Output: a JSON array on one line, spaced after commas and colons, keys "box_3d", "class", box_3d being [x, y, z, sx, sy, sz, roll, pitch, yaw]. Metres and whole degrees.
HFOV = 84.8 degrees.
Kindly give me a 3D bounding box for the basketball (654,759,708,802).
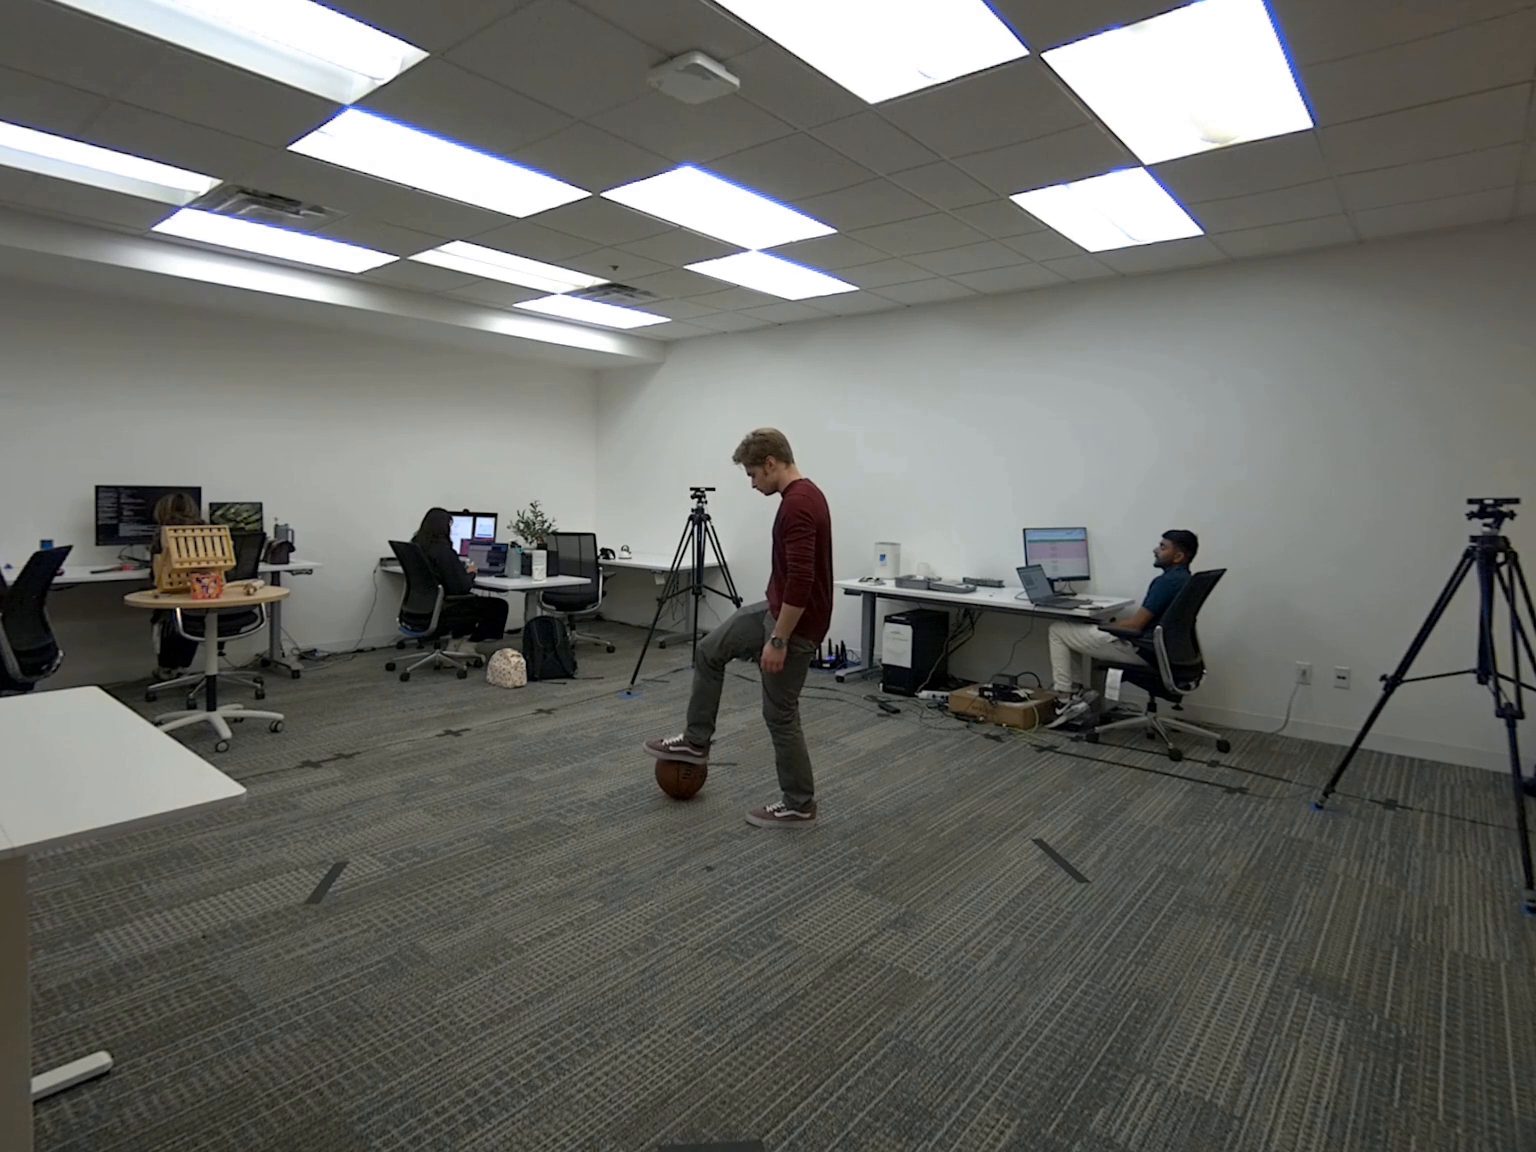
[{"box_3d": [-0.401, 0.871, 3.838, 0.235, 0.235, 0.237, 1, 4, -2], "class": "basketball"}]
